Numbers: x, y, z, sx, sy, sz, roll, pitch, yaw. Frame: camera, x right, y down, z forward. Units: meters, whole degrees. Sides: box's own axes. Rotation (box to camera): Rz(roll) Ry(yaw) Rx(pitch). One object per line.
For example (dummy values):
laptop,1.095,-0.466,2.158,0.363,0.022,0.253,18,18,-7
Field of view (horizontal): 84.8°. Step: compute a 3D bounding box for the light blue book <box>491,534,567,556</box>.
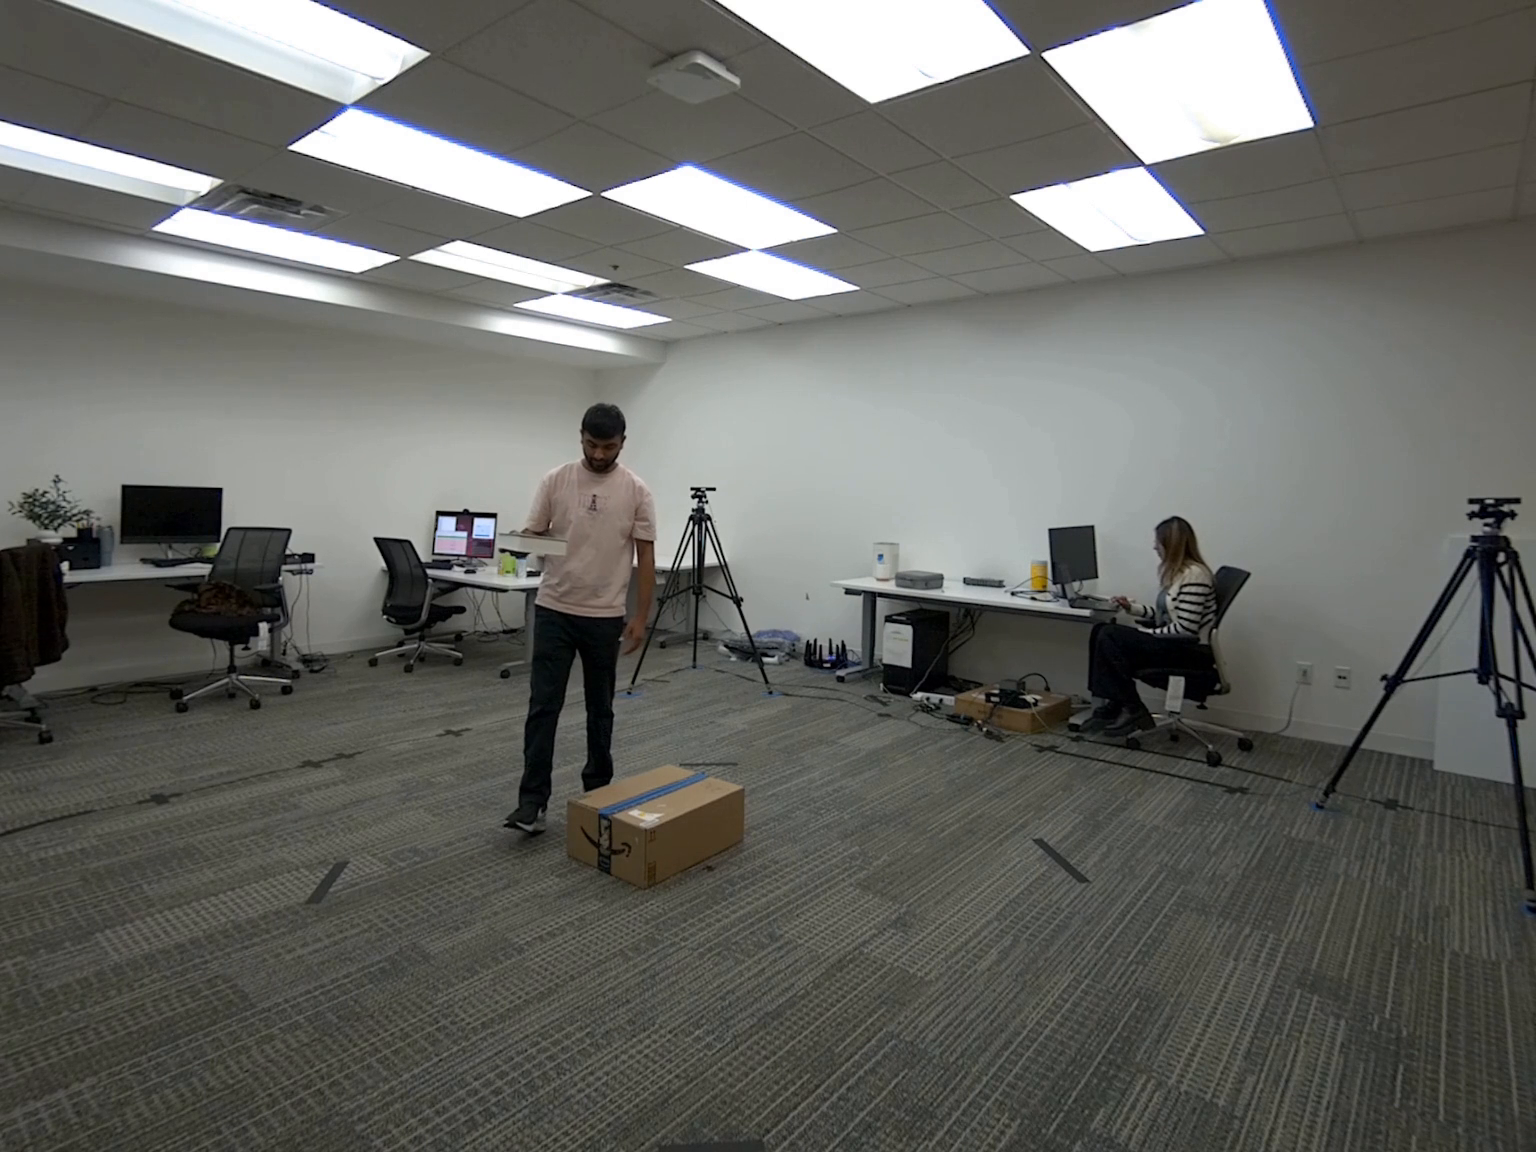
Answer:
light blue book,-0.874,-0.115,3.110,0.254,0.059,0.196,3,3,-26
